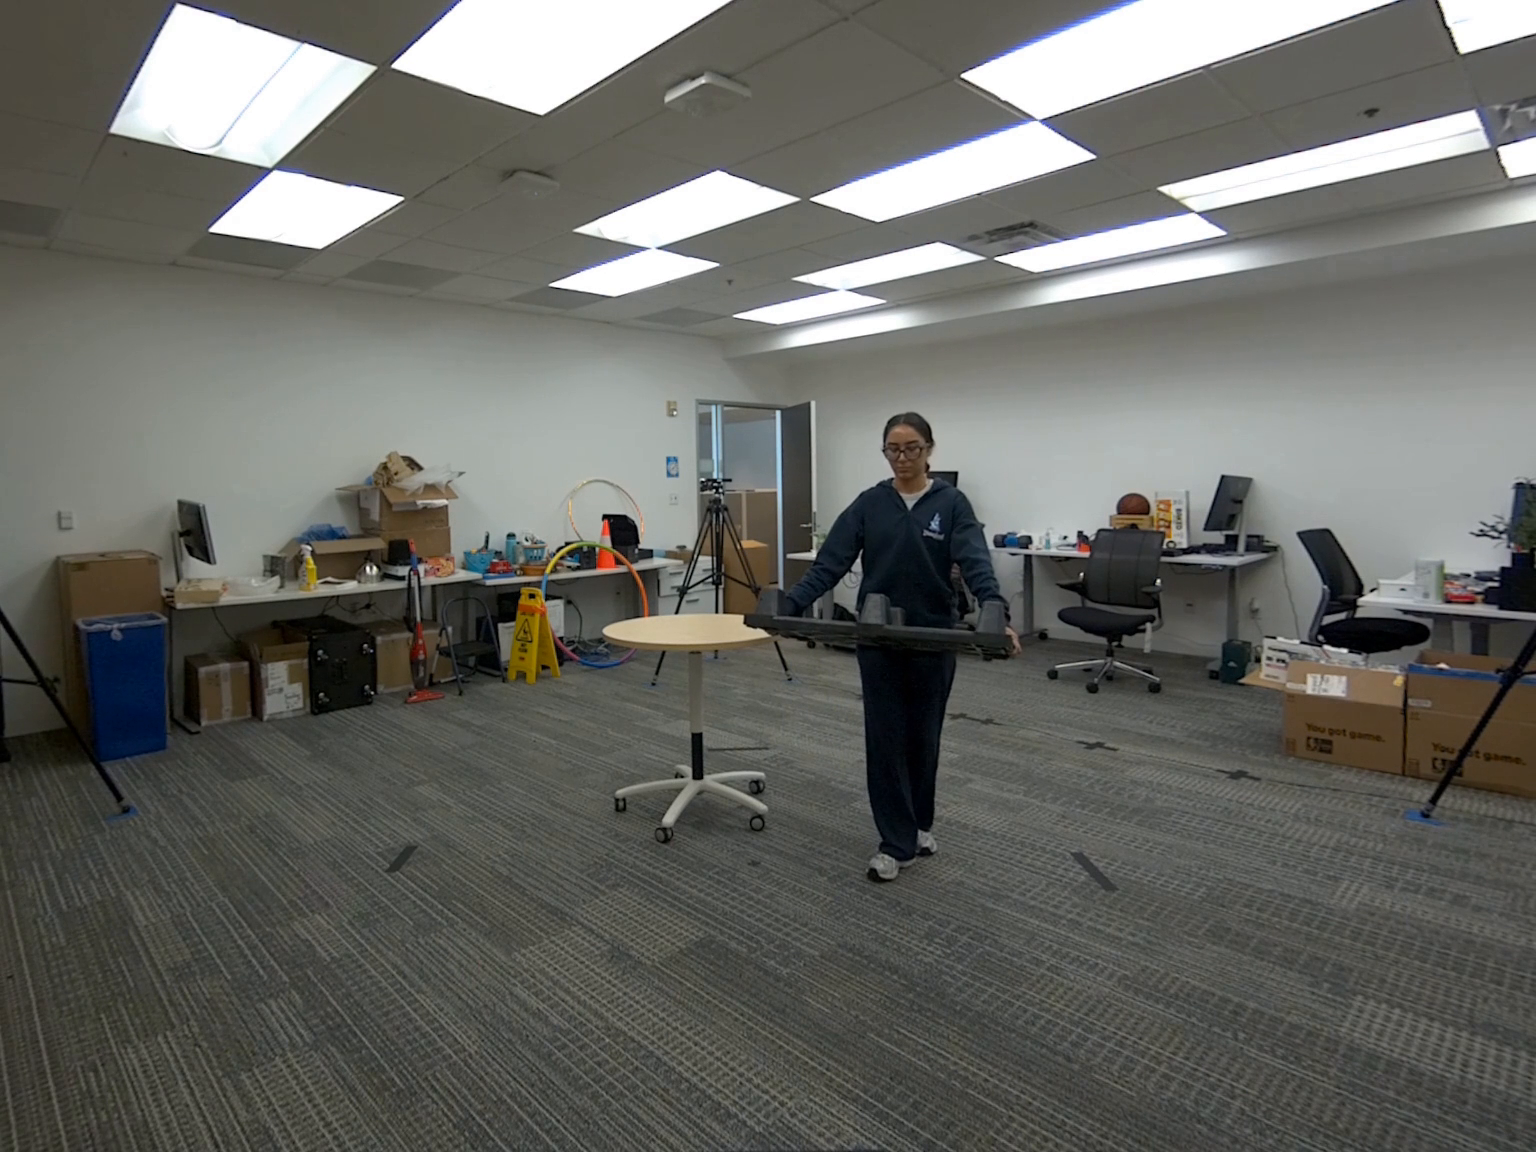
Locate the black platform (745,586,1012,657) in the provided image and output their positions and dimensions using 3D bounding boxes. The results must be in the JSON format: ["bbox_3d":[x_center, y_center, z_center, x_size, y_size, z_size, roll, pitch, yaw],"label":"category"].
[{"bbox_3d":[0.381,0.159,2.803,0.821,0.144,0.589,2,-9,19],"label":"black platform"}]
